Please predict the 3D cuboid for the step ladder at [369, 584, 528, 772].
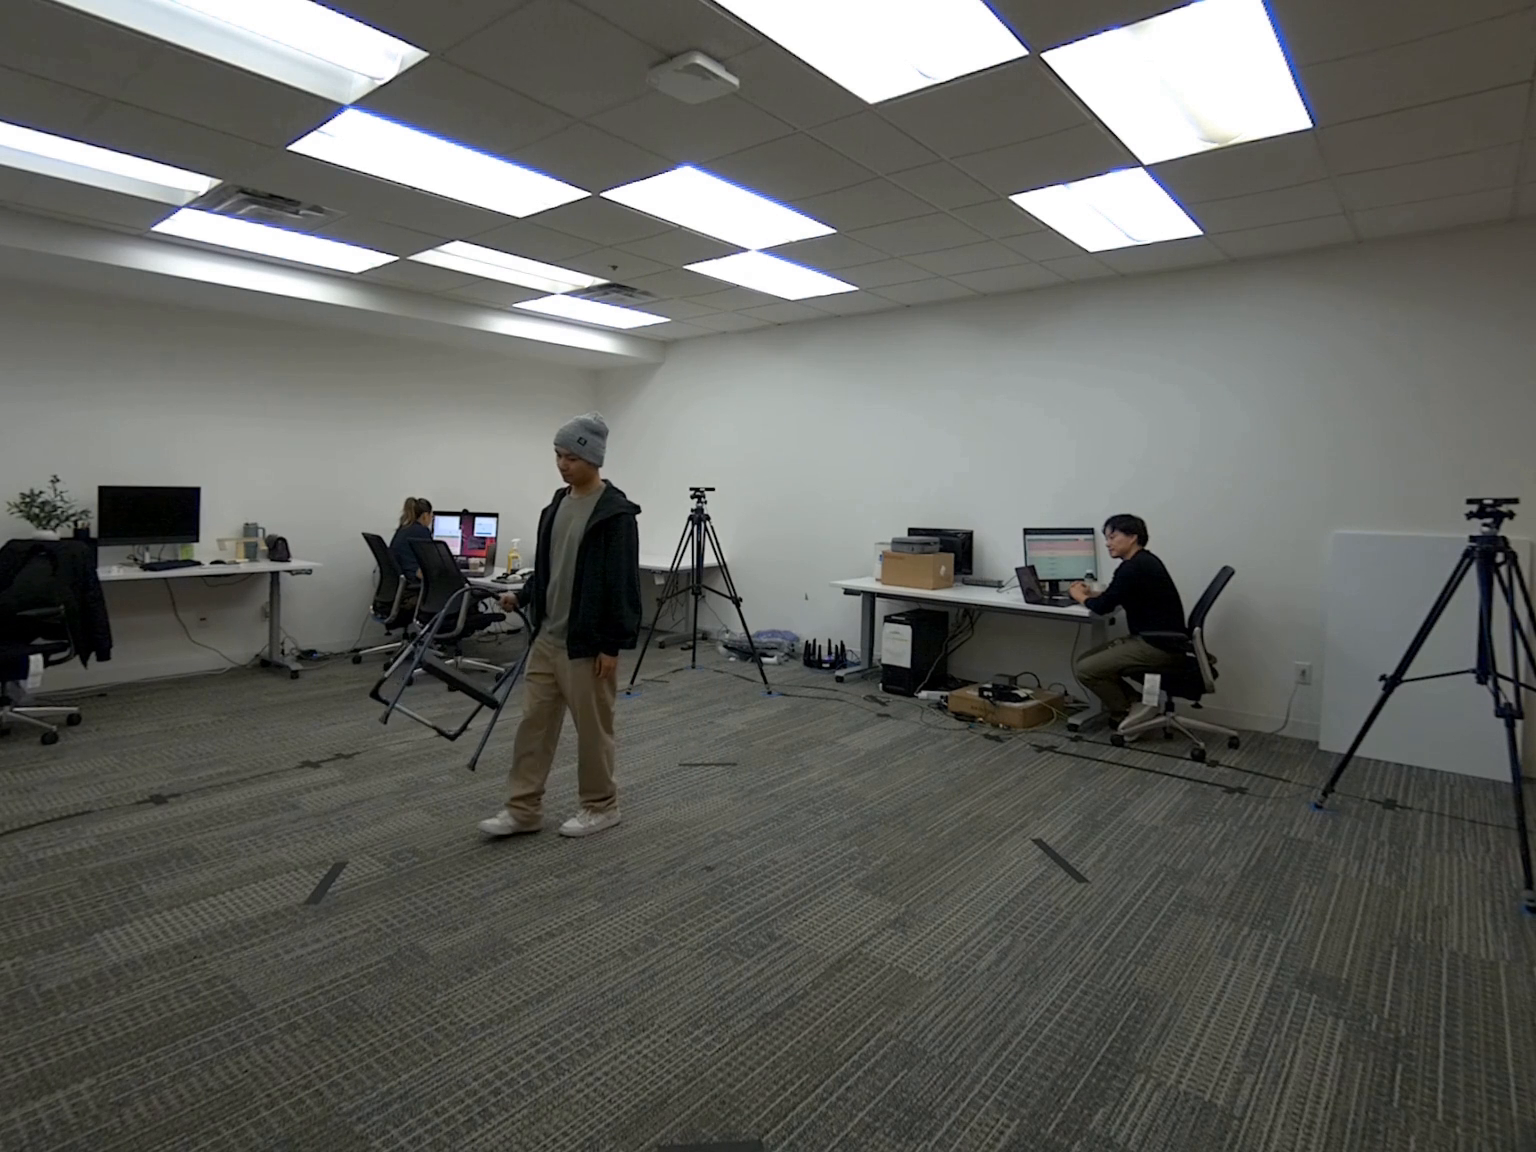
[{"bbox_3d":[-1.224,0.365,3.393,0.415,0.607,0.362,40,-13,-32],"label":"step ladder"}]
